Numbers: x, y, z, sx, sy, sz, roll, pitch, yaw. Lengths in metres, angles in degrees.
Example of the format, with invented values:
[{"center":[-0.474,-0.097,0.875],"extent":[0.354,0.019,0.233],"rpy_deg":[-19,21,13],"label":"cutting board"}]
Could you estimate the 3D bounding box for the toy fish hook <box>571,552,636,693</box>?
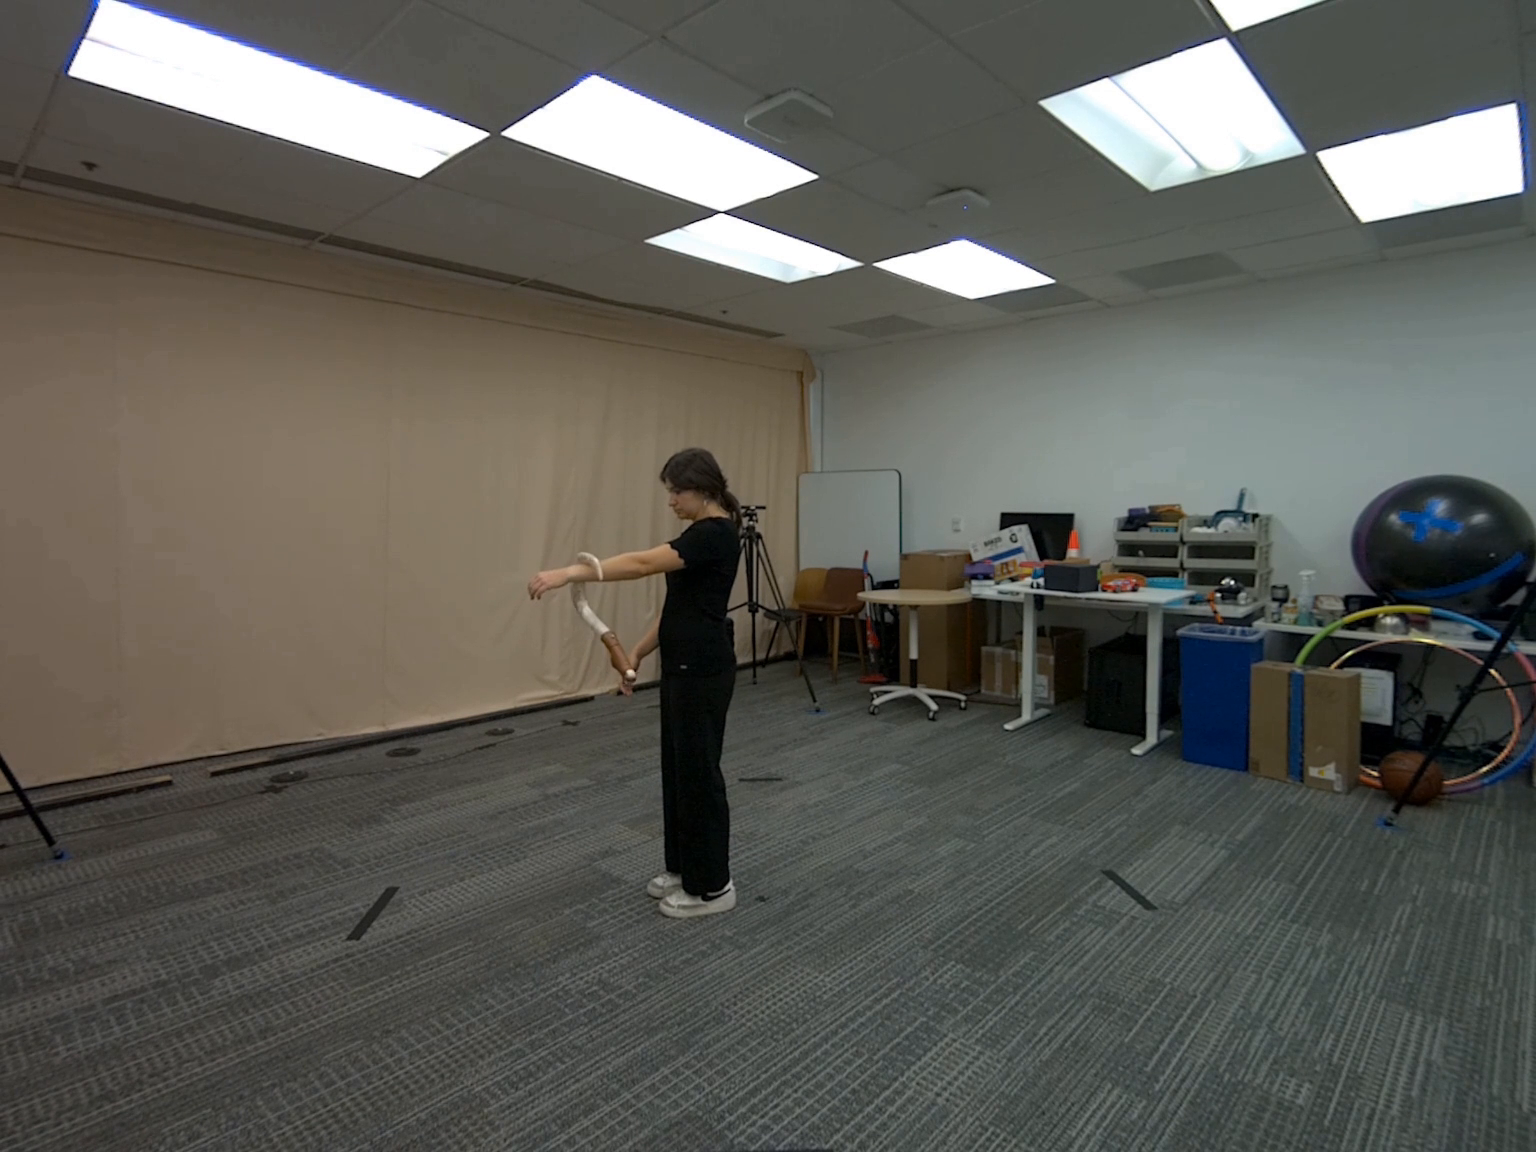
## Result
[{"center":[-0.504,0.119,2.532],"extent":[0.047,0.222,0.525],"rpy_deg":[-7,37,-30],"label":"toy fish hook"}]
